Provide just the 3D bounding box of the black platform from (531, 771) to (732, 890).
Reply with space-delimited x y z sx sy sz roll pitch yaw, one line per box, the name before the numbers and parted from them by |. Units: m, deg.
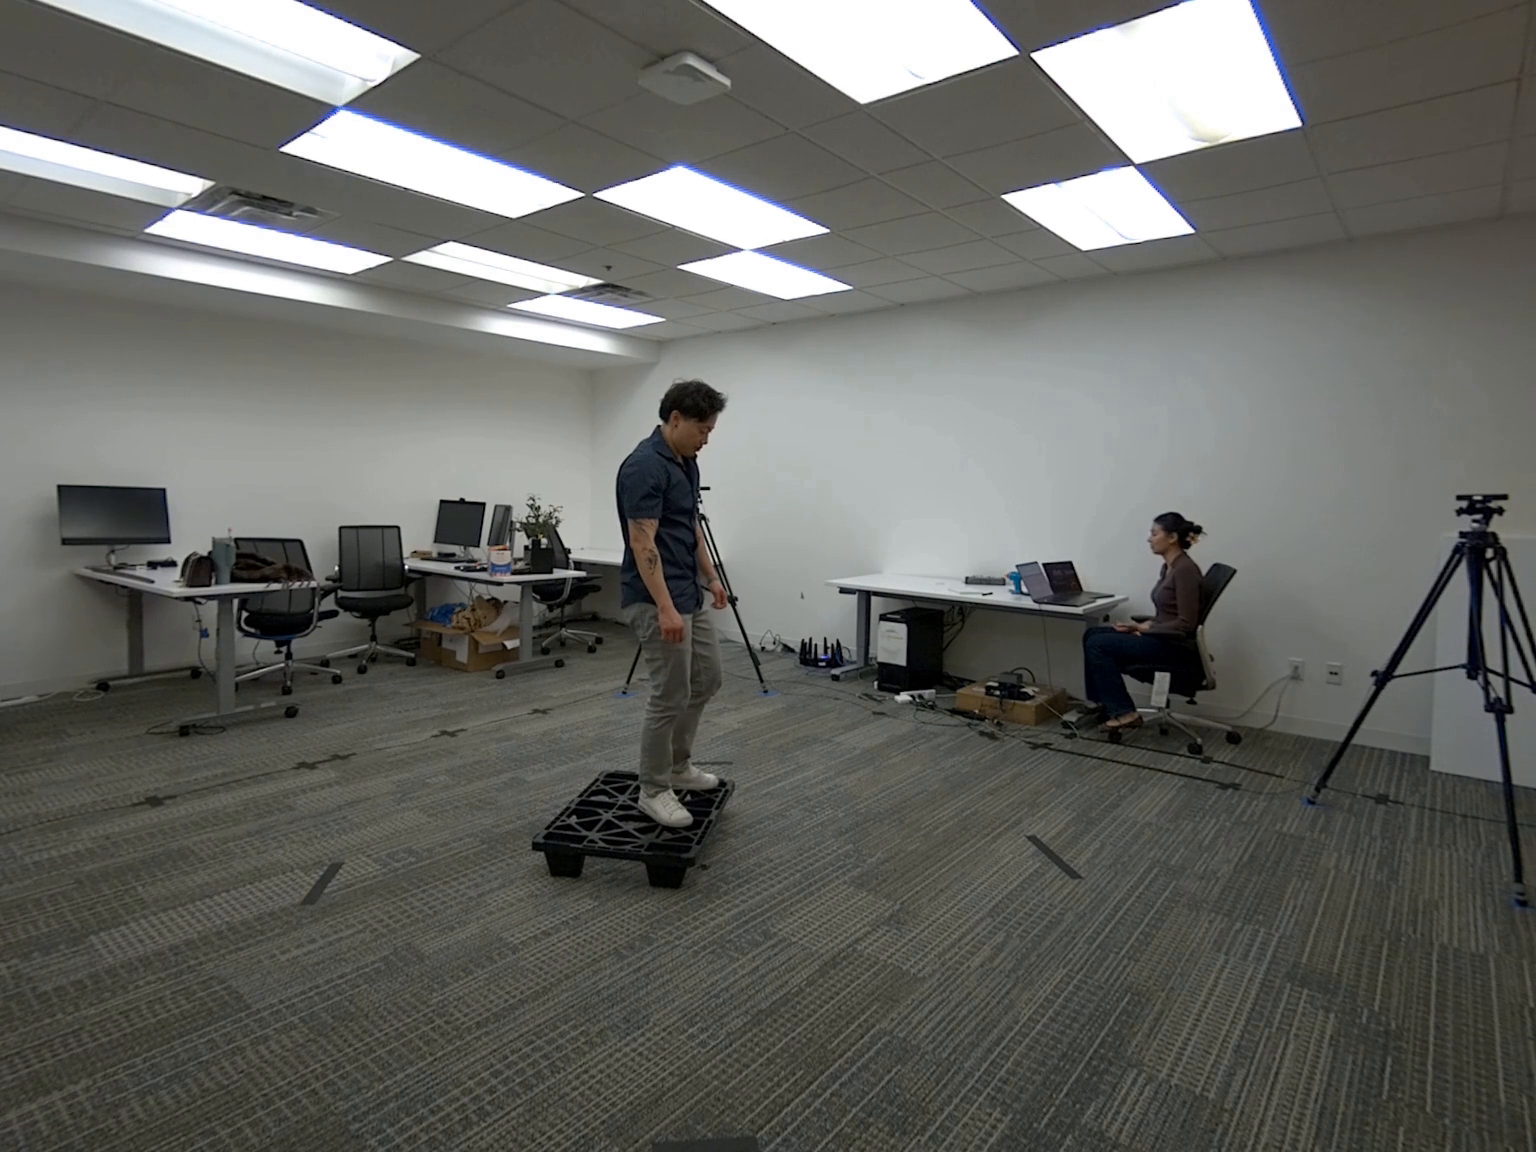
black platform | -0.505 0.972 3.334 0.612 0.143 0.800 1 5 9
